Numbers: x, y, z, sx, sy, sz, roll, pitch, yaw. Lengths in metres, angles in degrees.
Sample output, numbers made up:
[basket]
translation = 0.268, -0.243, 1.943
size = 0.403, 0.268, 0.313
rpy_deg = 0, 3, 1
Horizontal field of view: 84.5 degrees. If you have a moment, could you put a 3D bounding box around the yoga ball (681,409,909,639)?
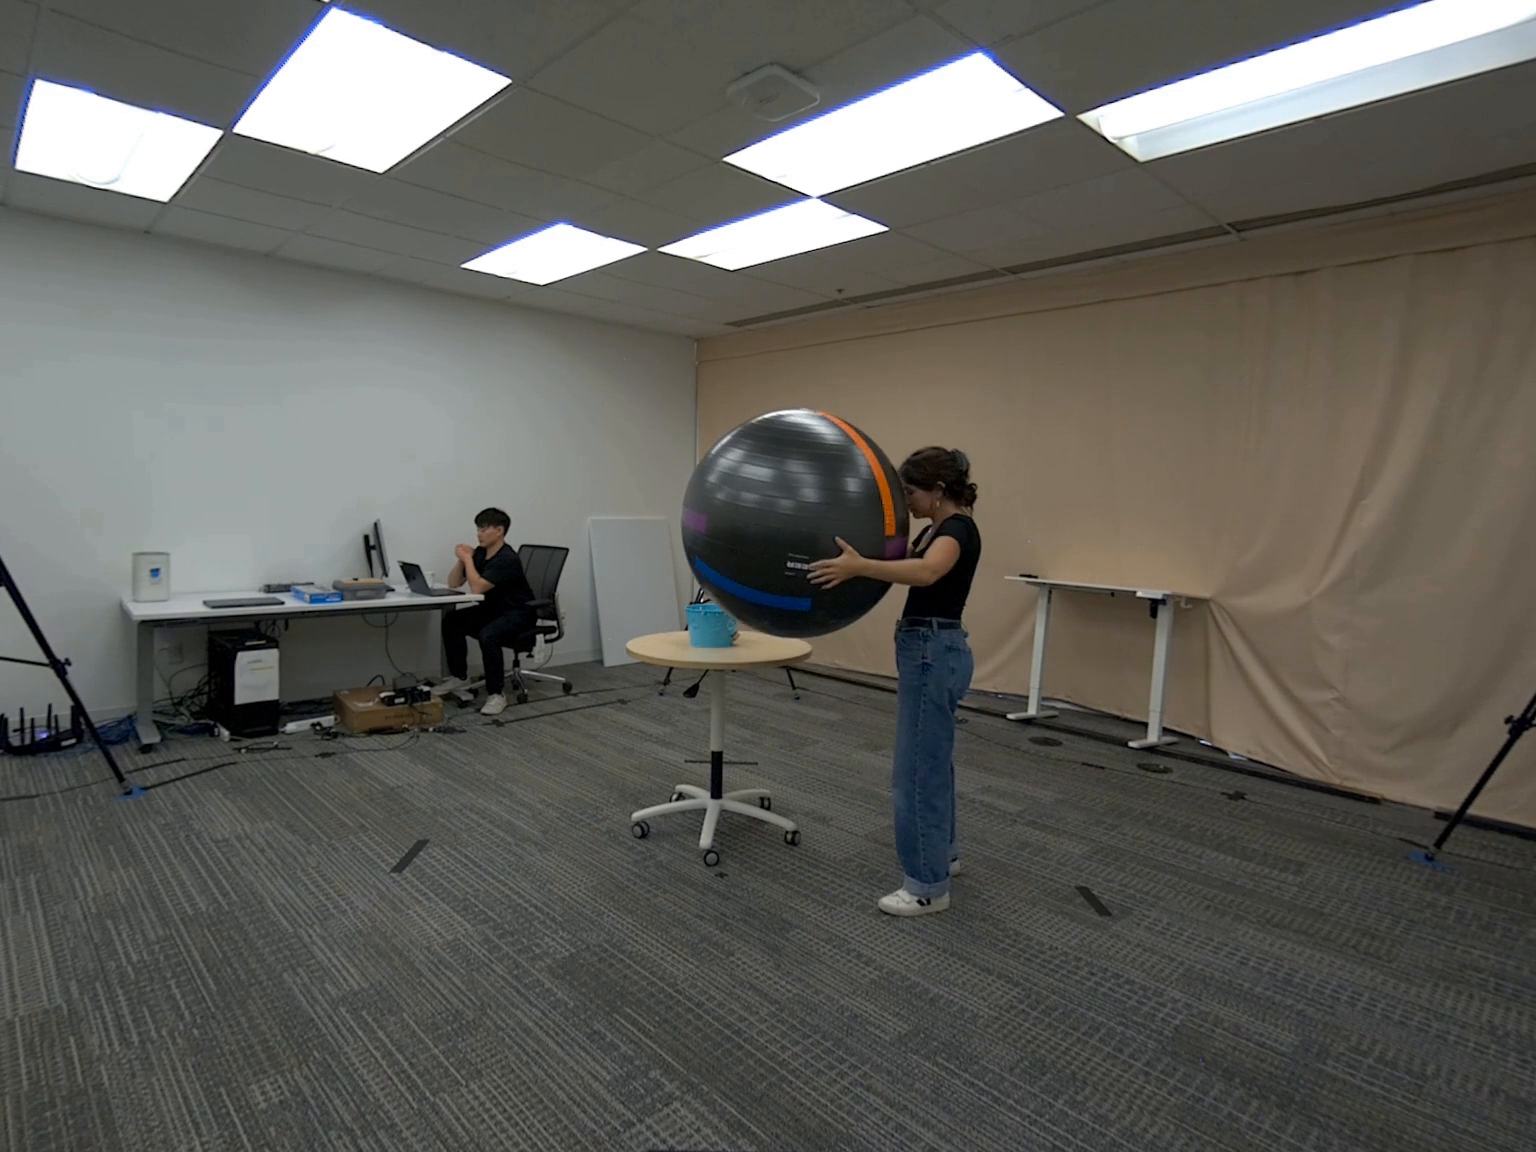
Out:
[yoga ball]
translation = 0.097, -0.164, 2.826
size = 0.757, 0.756, 0.761
rpy_deg = 1, 4, -1
